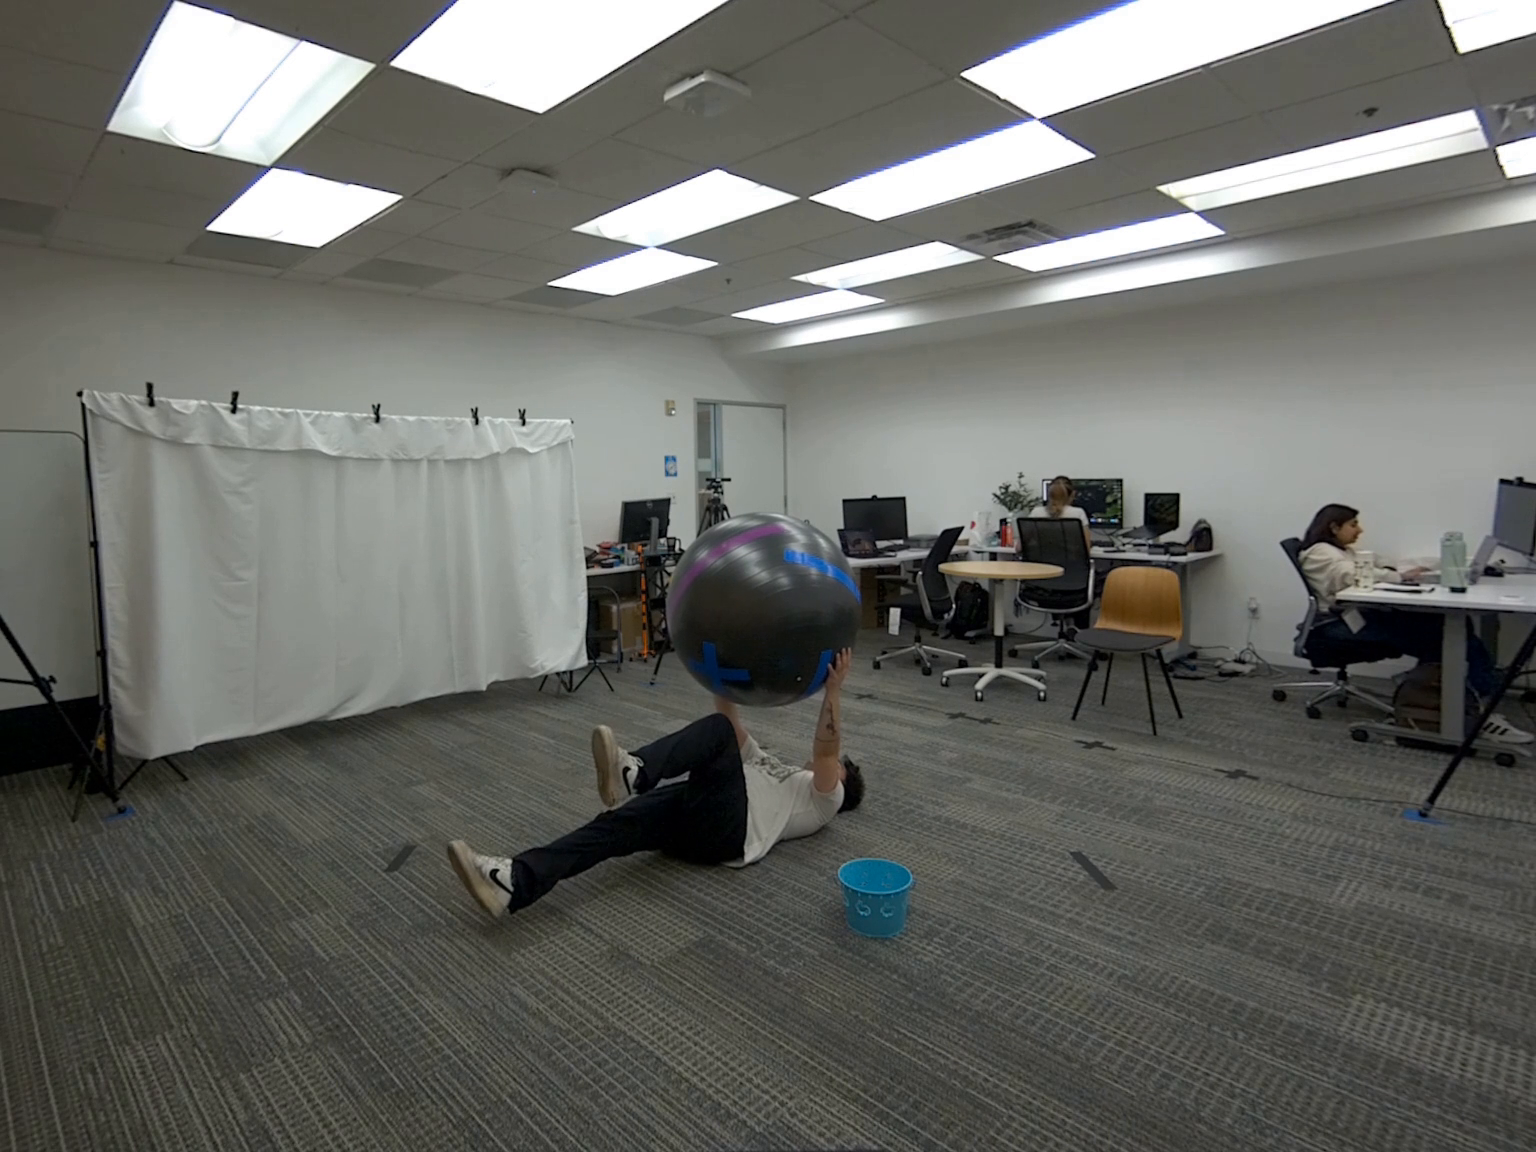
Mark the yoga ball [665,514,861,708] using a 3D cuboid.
[{"bbox_3d":[-0.019,0.135,3.341,0.757,0.755,0.762,-1,5,-2],"label":"yoga ball"}]
